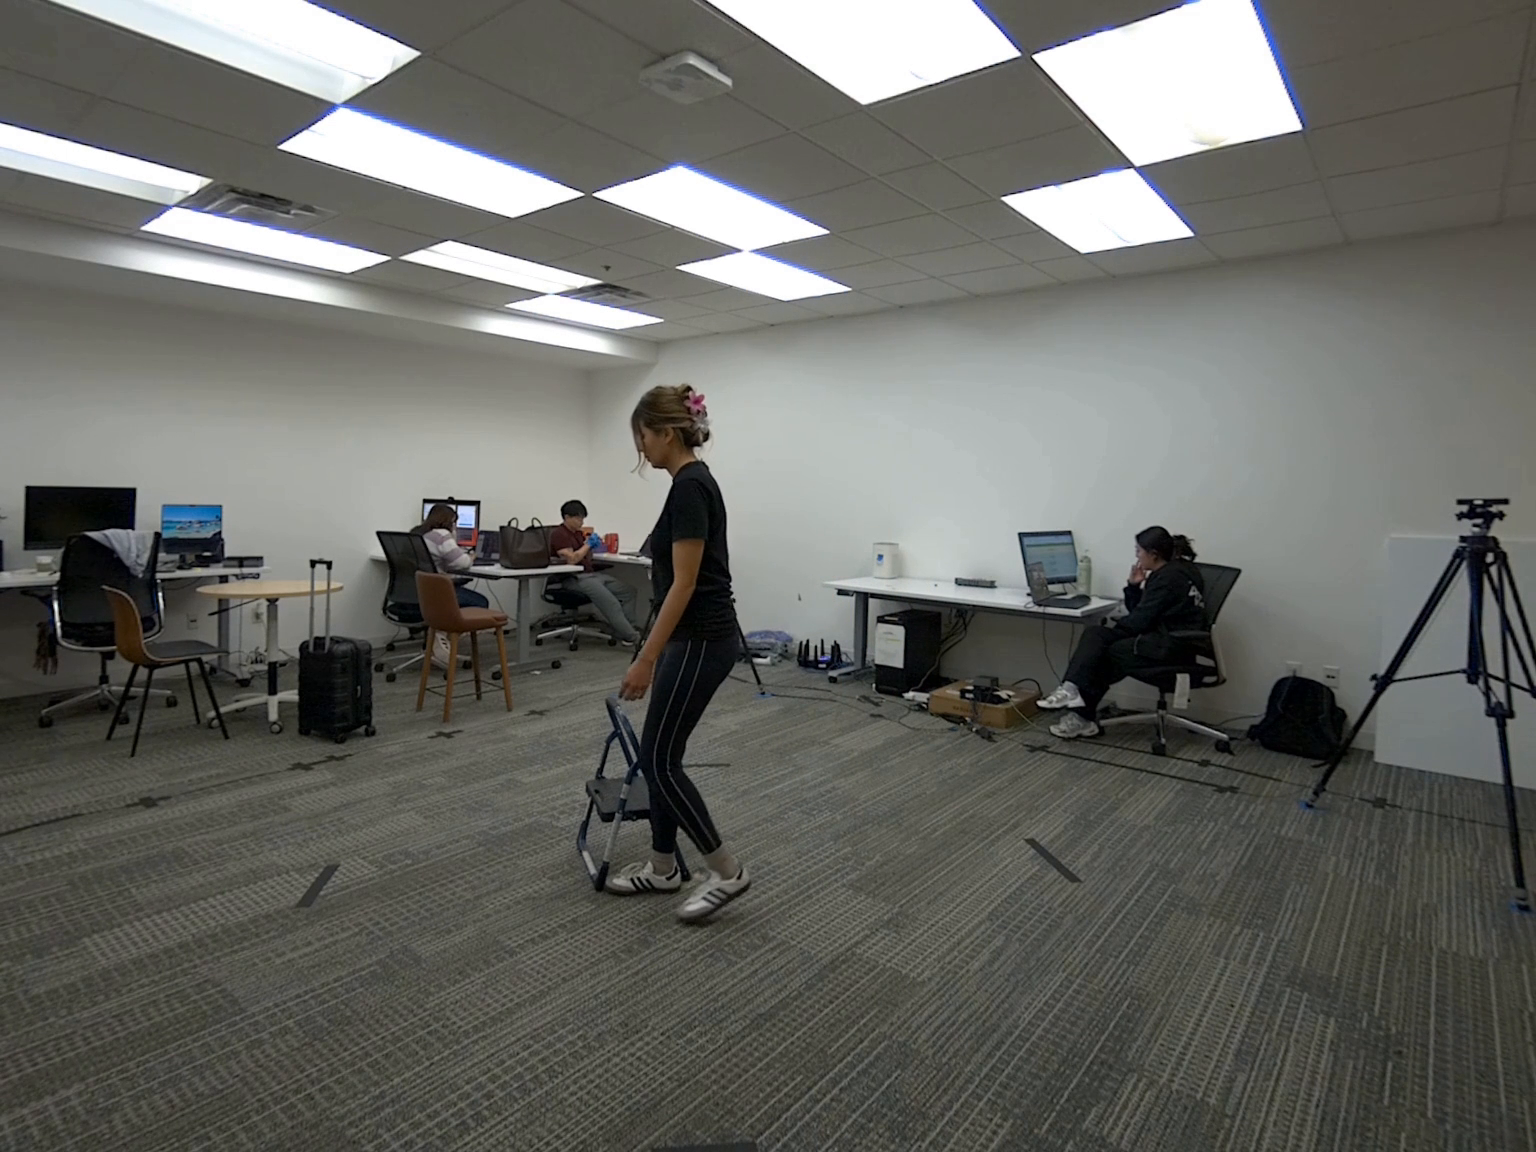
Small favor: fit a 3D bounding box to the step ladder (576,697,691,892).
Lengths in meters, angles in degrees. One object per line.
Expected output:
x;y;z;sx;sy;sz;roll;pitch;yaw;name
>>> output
-0.518;0.755;3.150;0.342;0.604;0.441;0;3;-22;step ladder
